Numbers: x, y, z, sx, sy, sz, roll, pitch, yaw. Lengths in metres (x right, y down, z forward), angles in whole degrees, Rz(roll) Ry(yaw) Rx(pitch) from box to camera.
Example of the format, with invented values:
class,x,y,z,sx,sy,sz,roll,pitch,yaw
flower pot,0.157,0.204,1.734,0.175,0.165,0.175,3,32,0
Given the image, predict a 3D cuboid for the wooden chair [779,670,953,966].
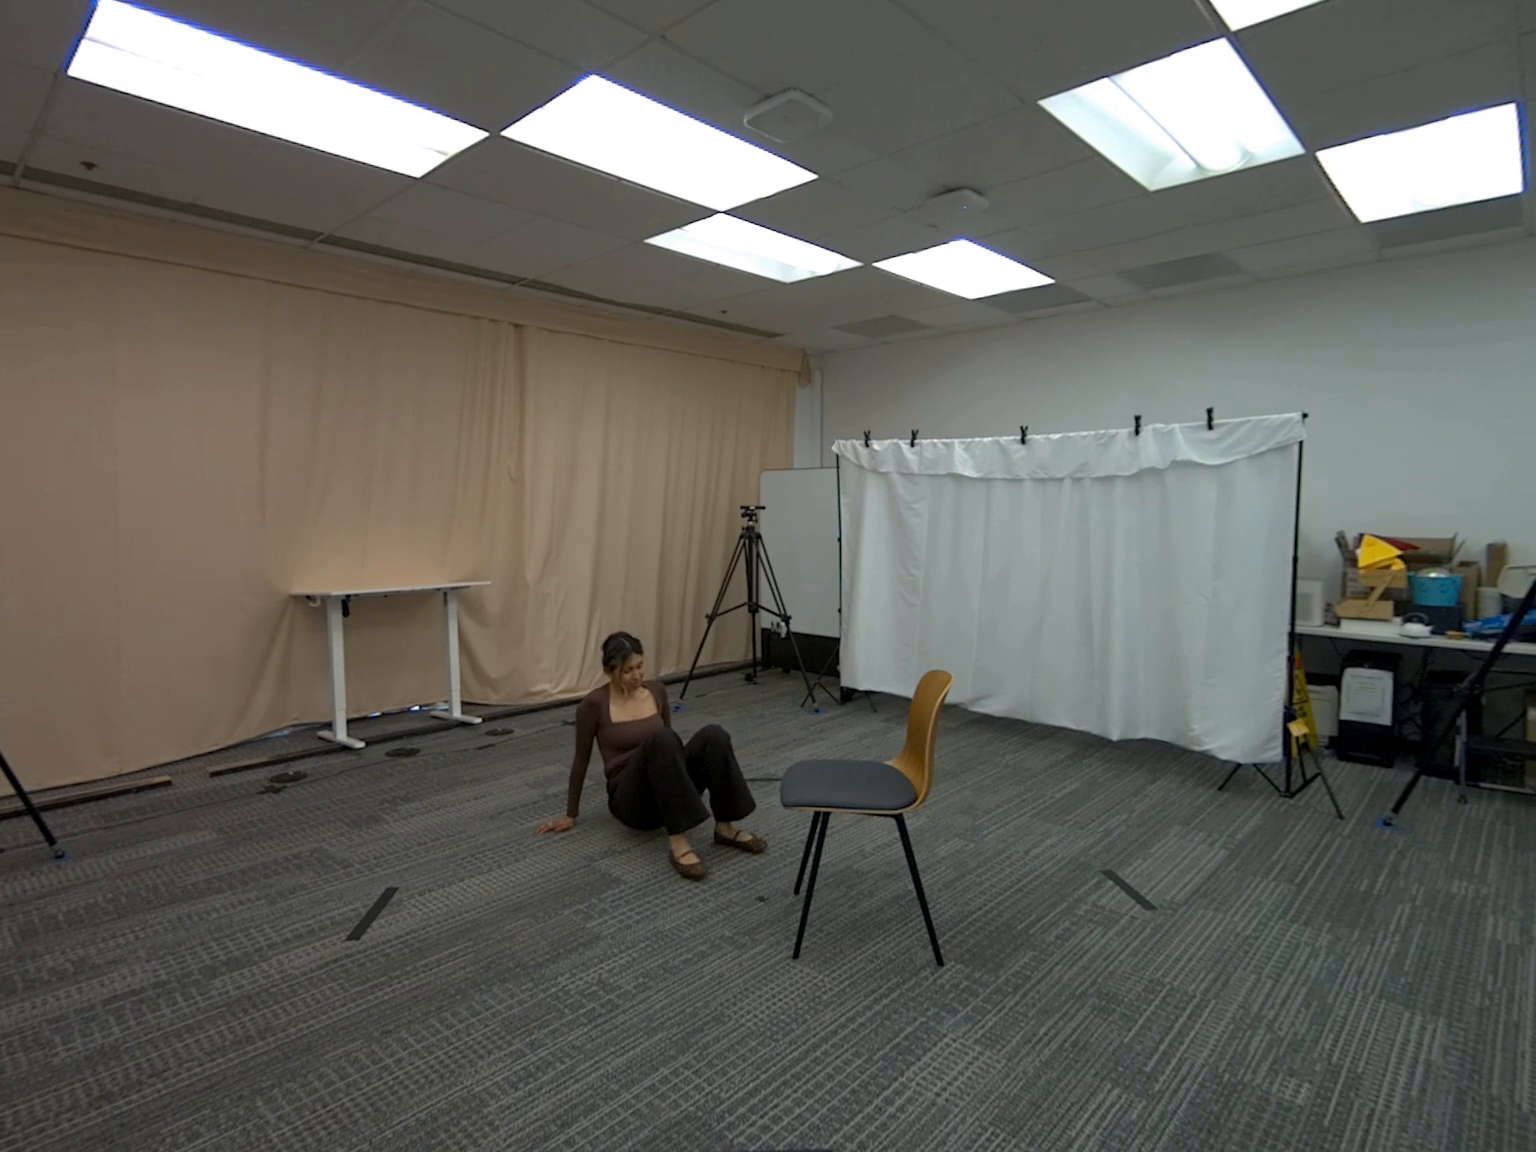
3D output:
class,x,y,z,sx,sy,sz,roll,pitch,yaw
wooden chair,0.308,0.736,2.751,0.526,0.875,0.477,4,4,4
